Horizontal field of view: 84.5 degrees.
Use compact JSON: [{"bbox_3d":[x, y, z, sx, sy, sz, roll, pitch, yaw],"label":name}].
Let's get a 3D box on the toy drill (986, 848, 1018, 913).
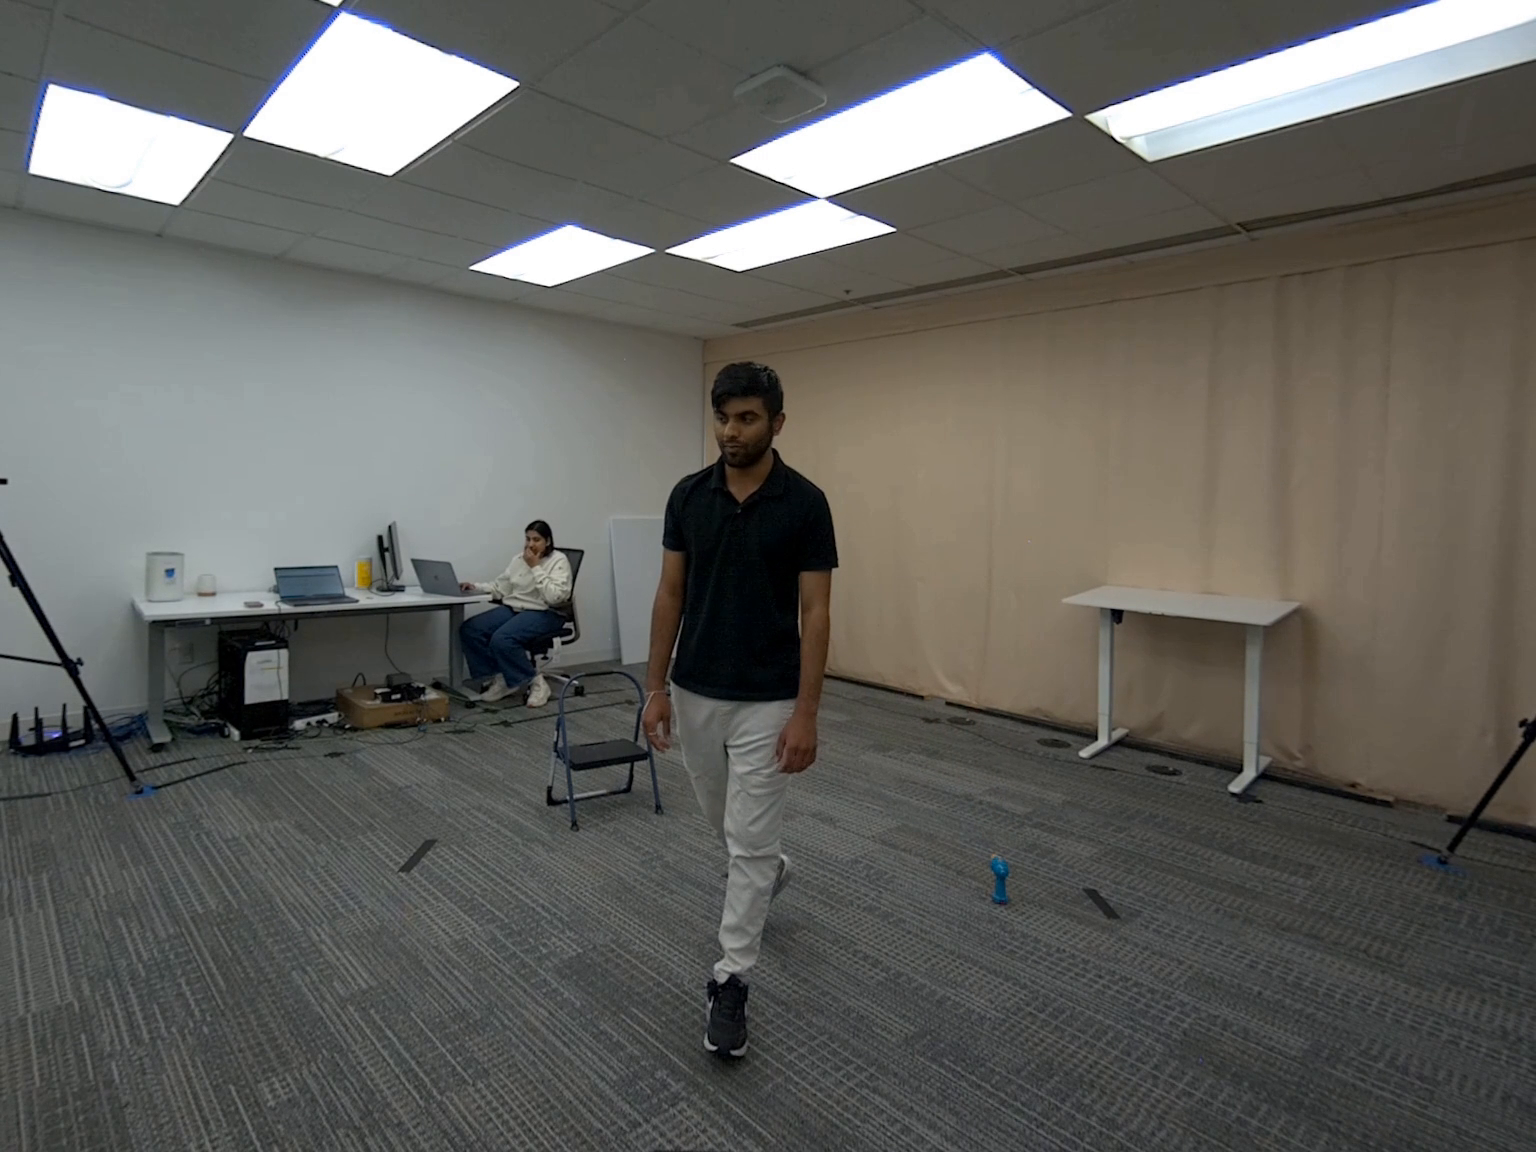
[{"bbox_3d":[0.826,1.073,2.997,0.061,0.145,0.169,7,4,5],"label":"toy drill"}]
